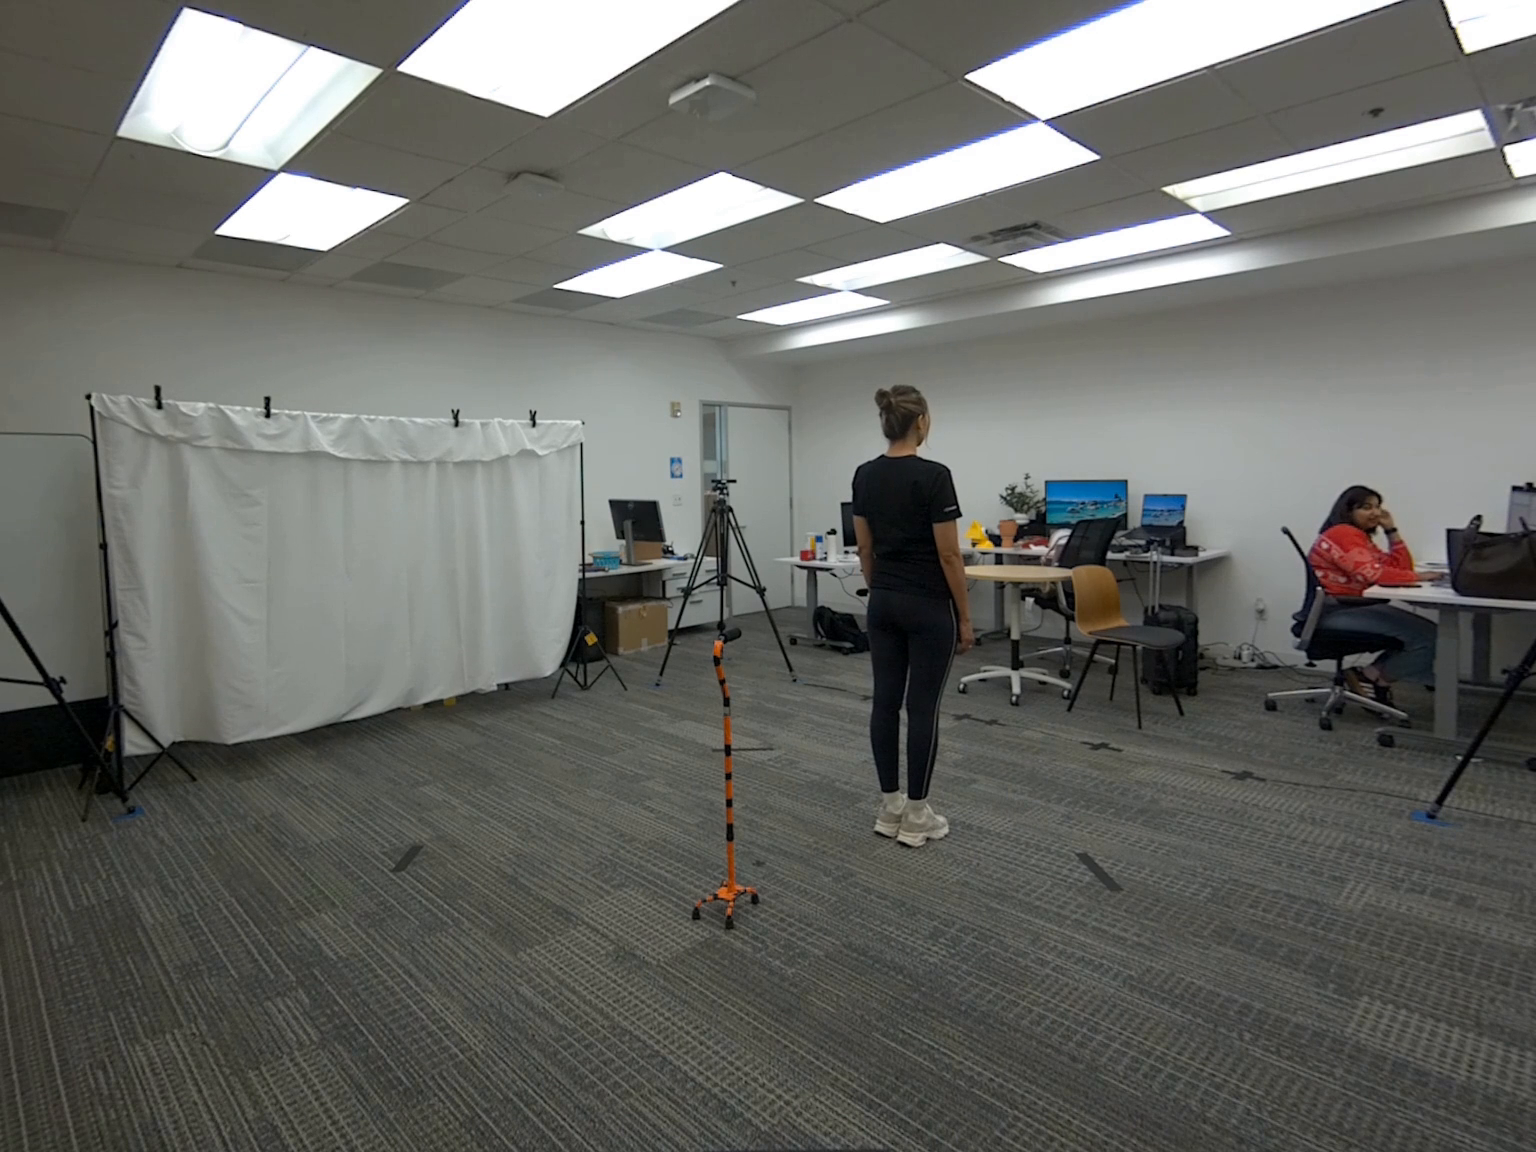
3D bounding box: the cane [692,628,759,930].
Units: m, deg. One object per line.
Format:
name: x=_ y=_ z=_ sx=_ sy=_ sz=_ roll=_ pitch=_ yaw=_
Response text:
cane: x=-0.140 y=0.633 z=2.747 sx=0.155 sy=0.904 sz=0.203 roll=0 pitch=4 yaw=23
